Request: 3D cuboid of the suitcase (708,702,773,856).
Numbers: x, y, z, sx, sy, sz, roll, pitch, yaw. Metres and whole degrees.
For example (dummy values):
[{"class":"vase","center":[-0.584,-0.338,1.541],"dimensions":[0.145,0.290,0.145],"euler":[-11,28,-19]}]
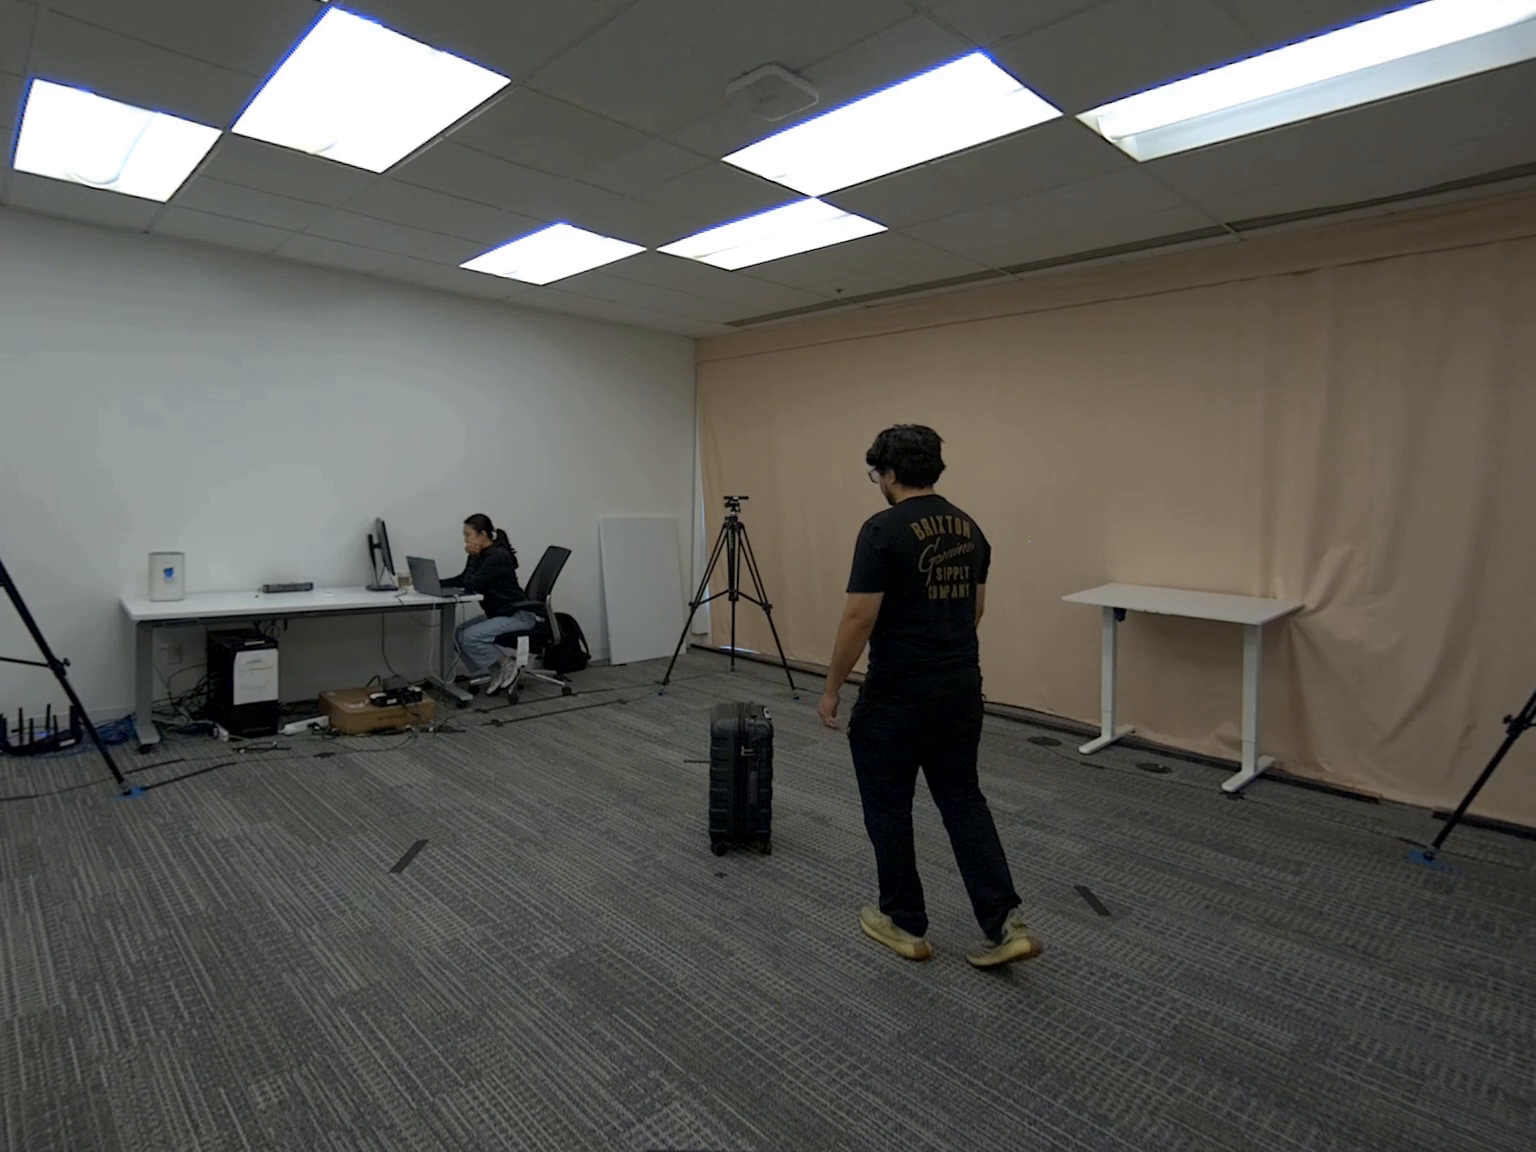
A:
[{"class":"suitcase","center":[-0.112,0.801,3.409],"dimensions":[0.248,0.548,0.377],"euler":[1,4,-3]}]
